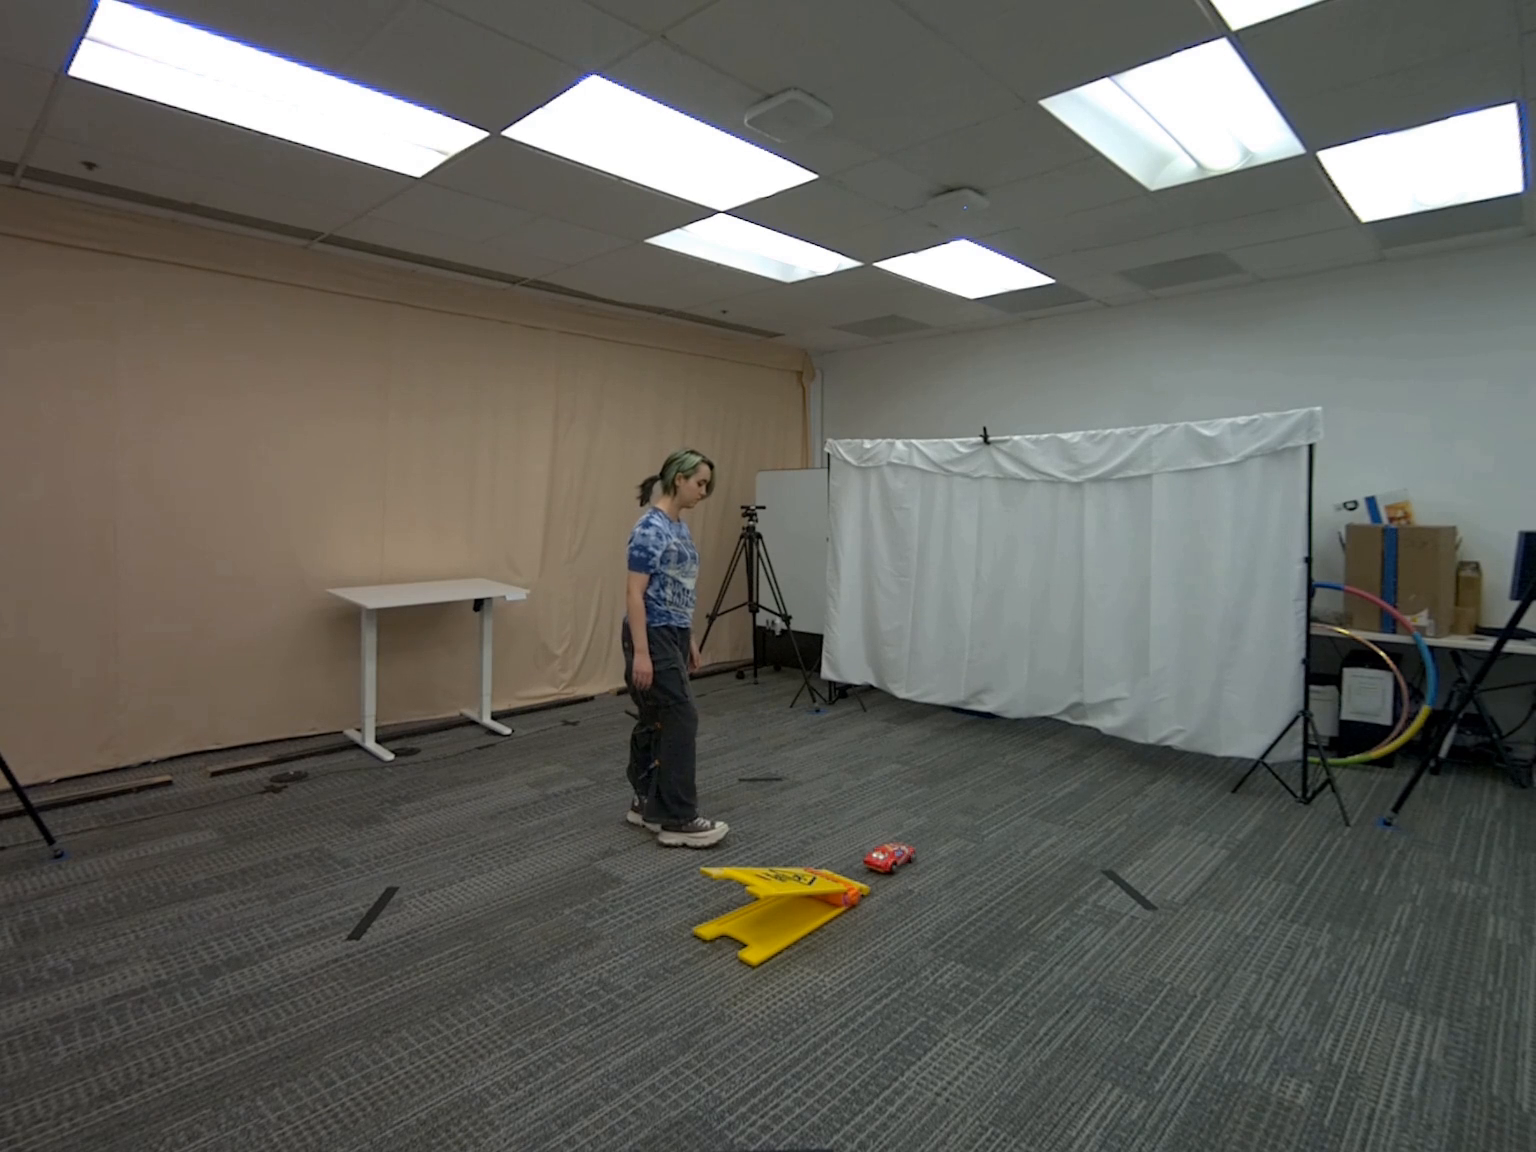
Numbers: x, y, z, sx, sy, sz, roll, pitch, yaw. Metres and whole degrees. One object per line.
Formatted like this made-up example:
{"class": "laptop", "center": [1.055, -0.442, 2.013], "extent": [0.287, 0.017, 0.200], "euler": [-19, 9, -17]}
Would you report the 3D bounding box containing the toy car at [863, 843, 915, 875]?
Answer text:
{"class": "toy car", "center": [0.467, 1.086, 3.251], "extent": [0.135, 0.083, 0.246], "euler": [4, -6, 42]}
